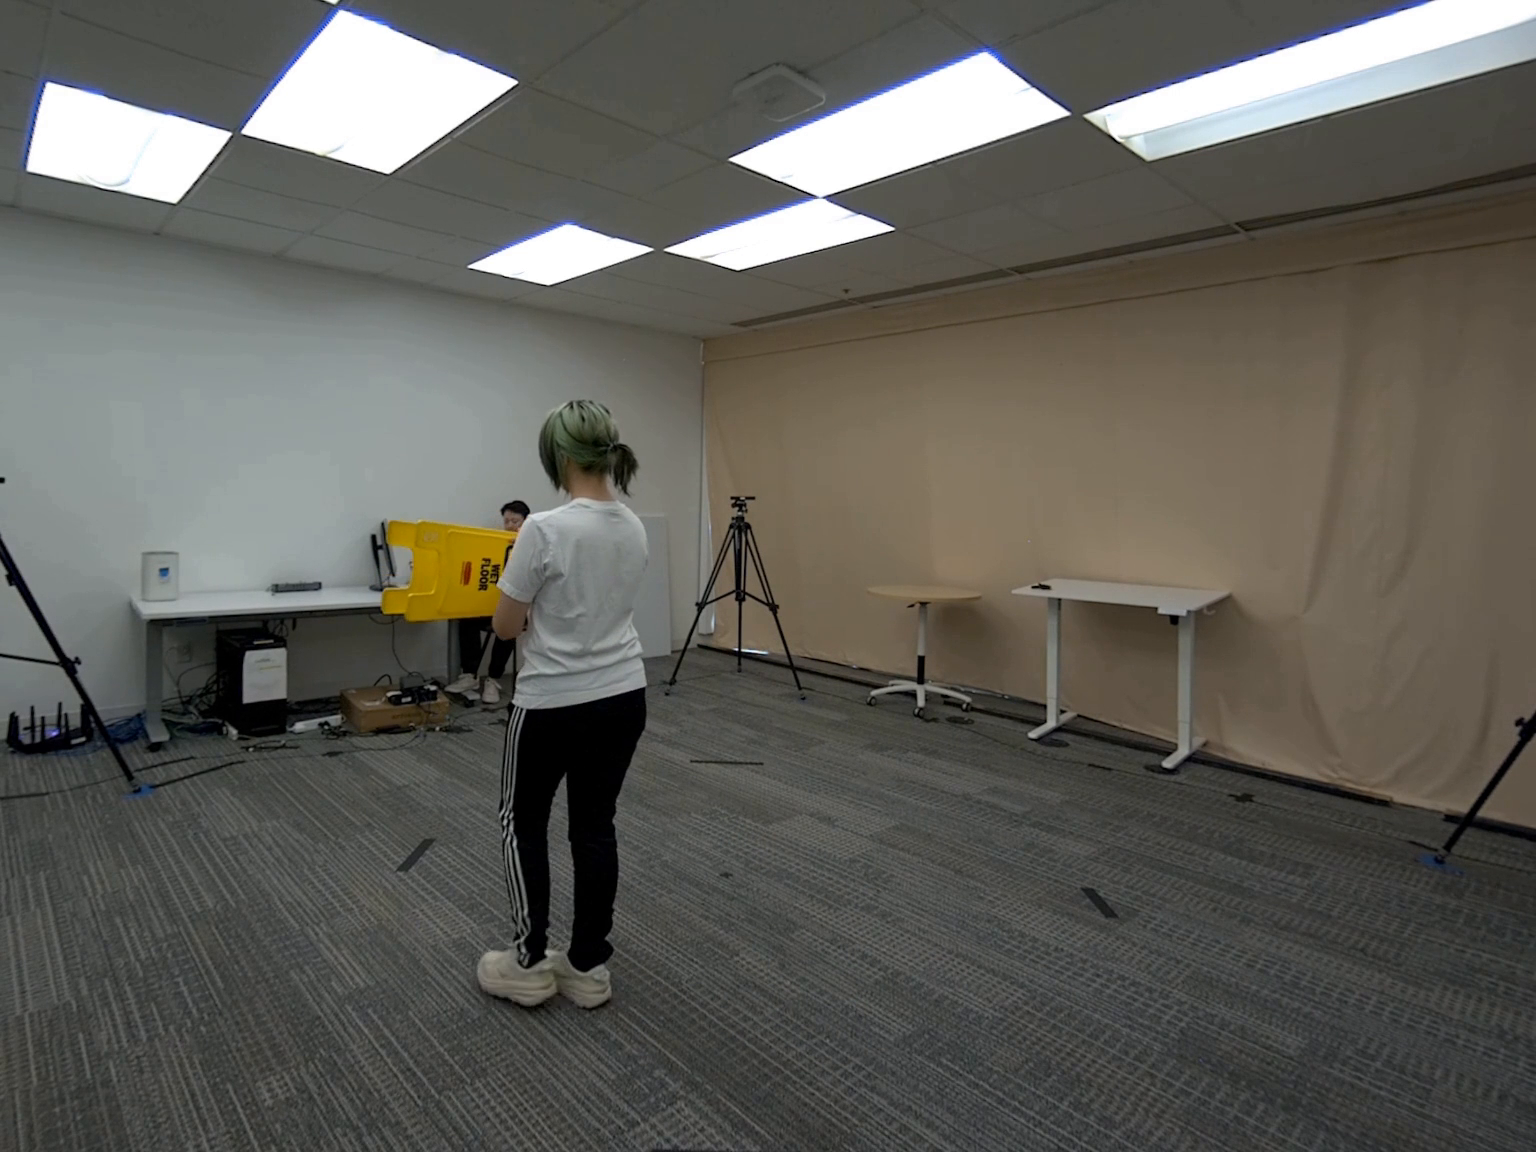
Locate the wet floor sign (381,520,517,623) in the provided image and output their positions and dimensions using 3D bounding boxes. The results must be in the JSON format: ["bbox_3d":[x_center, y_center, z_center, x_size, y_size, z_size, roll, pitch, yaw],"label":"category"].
[{"bbox_3d":[-0.808,-0.004,2.573,0.630,0.282,0.297,2,2,-40],"label":"wet floor sign"}]
